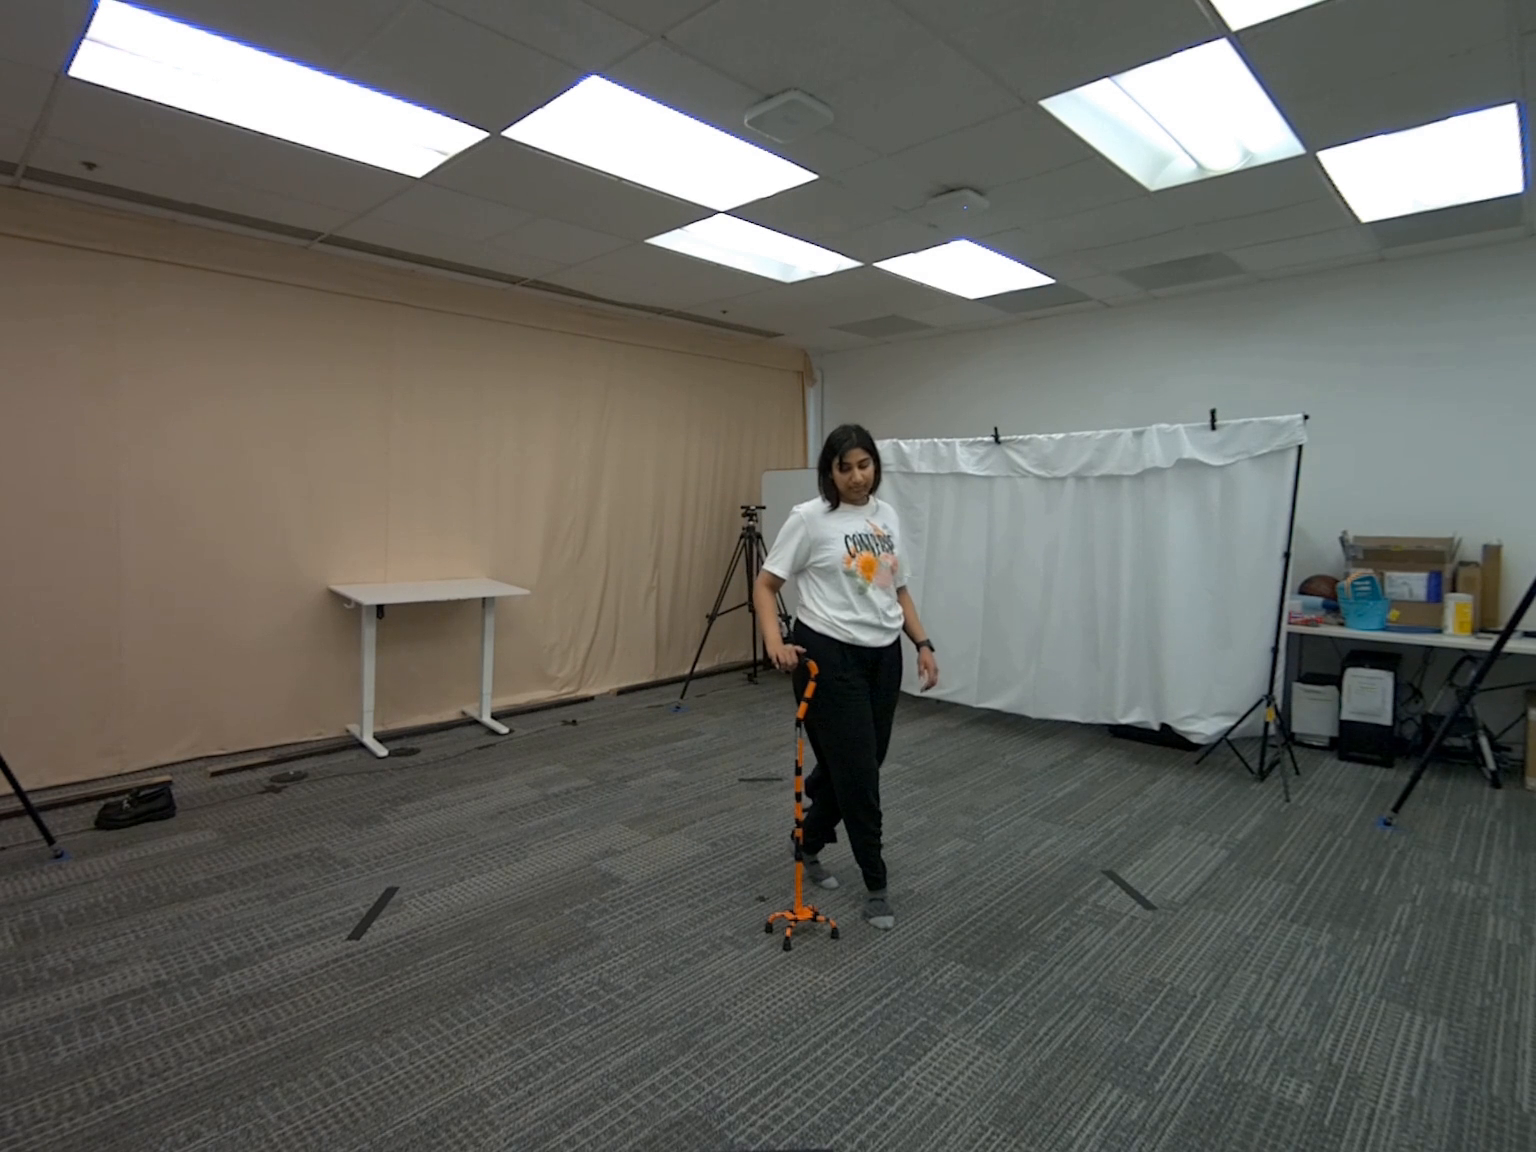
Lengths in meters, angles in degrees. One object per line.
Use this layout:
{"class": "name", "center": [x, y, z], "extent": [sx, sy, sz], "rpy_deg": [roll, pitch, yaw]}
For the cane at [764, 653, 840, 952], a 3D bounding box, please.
{"class": "cane", "center": [0.113, 0.713, 2.706], "extent": [0.201, 0.906, 0.155], "rpy_deg": [-2, 4, -26]}
